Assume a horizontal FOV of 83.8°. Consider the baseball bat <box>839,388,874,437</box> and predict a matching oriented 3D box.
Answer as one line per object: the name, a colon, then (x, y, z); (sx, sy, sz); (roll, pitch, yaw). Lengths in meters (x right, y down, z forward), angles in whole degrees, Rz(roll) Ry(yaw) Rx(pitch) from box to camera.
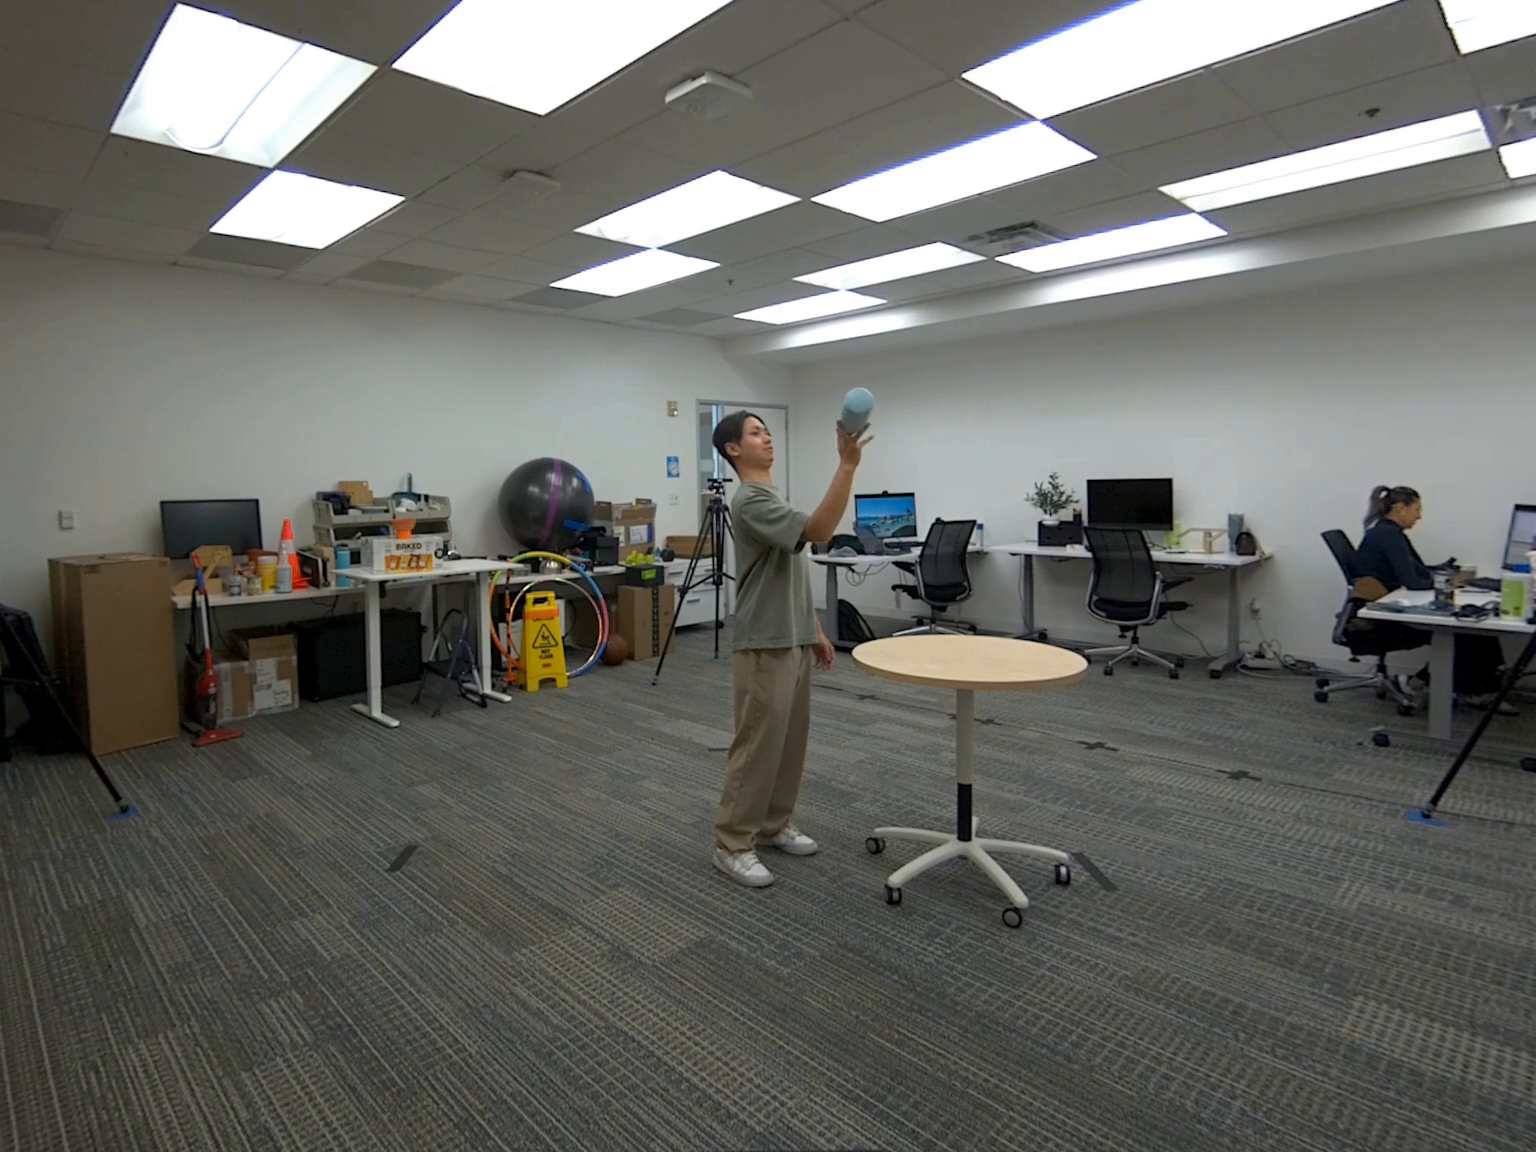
baseball bat: (0.273, -0.483, 2.781); (0.089, 0.090, 0.537); (0, -7, 2)
